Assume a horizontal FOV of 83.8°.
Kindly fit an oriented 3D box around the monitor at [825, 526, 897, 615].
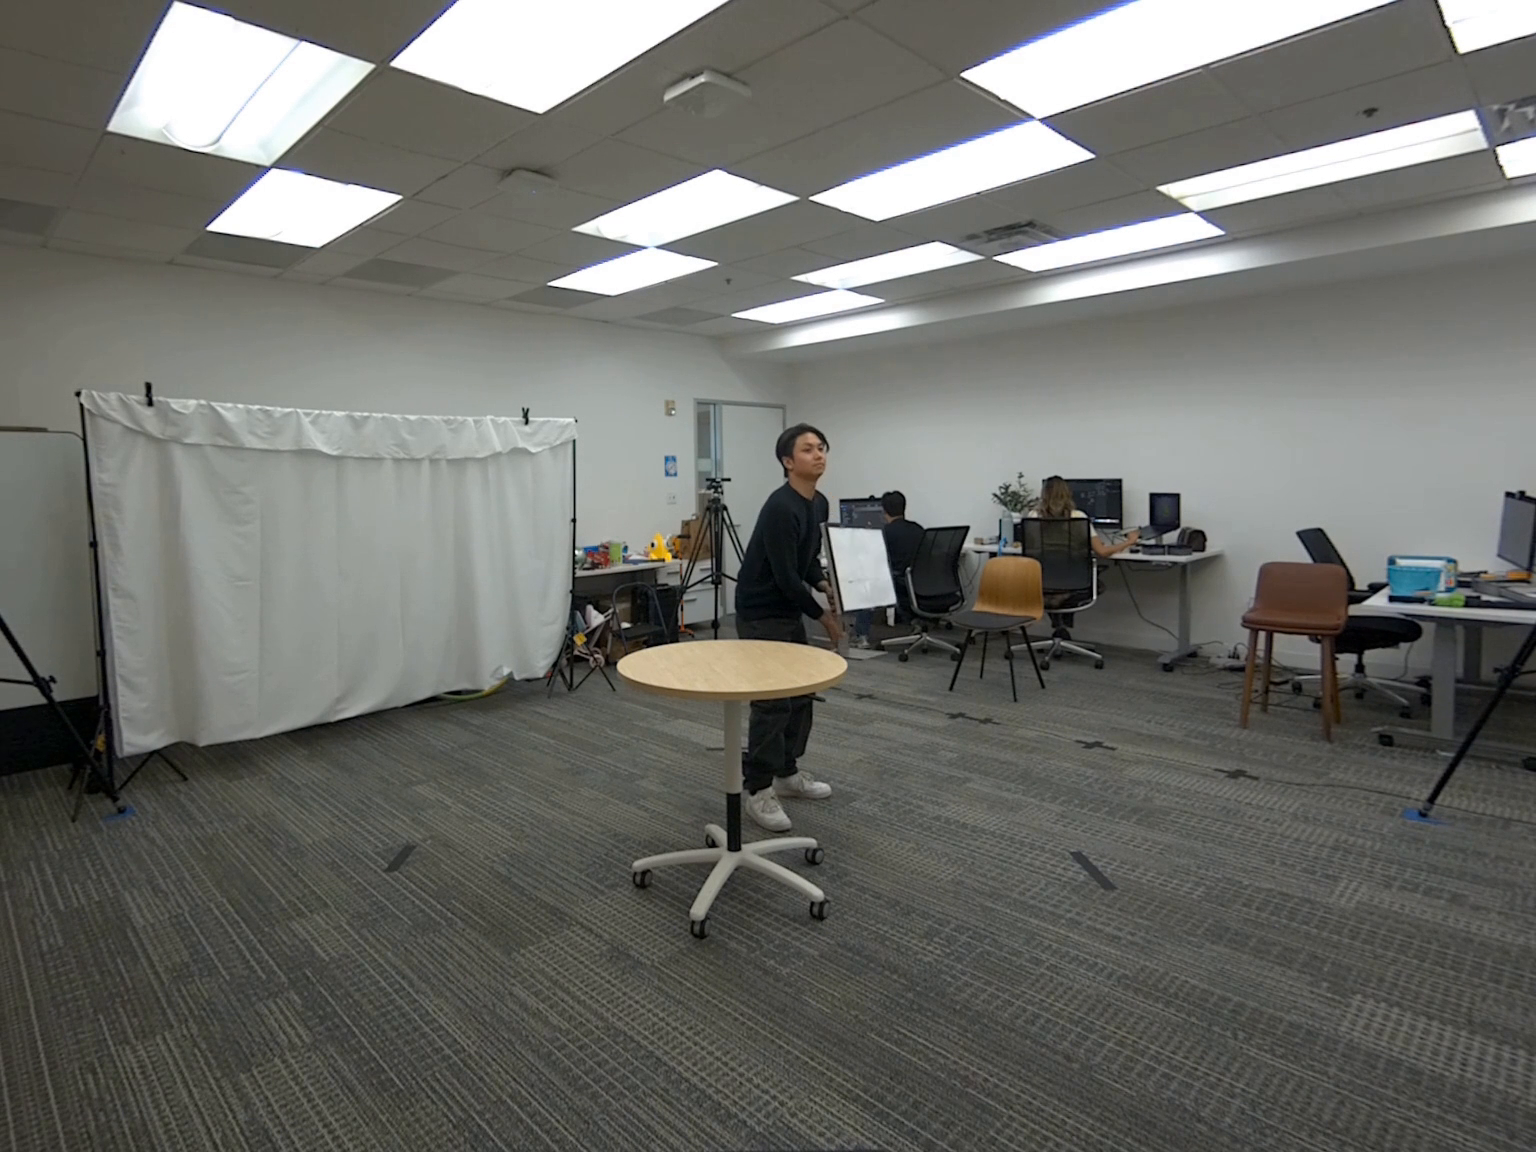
[{"bbox_3d":[0.342,0.057,3.521,0.192,0.523,0.524,0,0,31],"label":"monitor"}]
